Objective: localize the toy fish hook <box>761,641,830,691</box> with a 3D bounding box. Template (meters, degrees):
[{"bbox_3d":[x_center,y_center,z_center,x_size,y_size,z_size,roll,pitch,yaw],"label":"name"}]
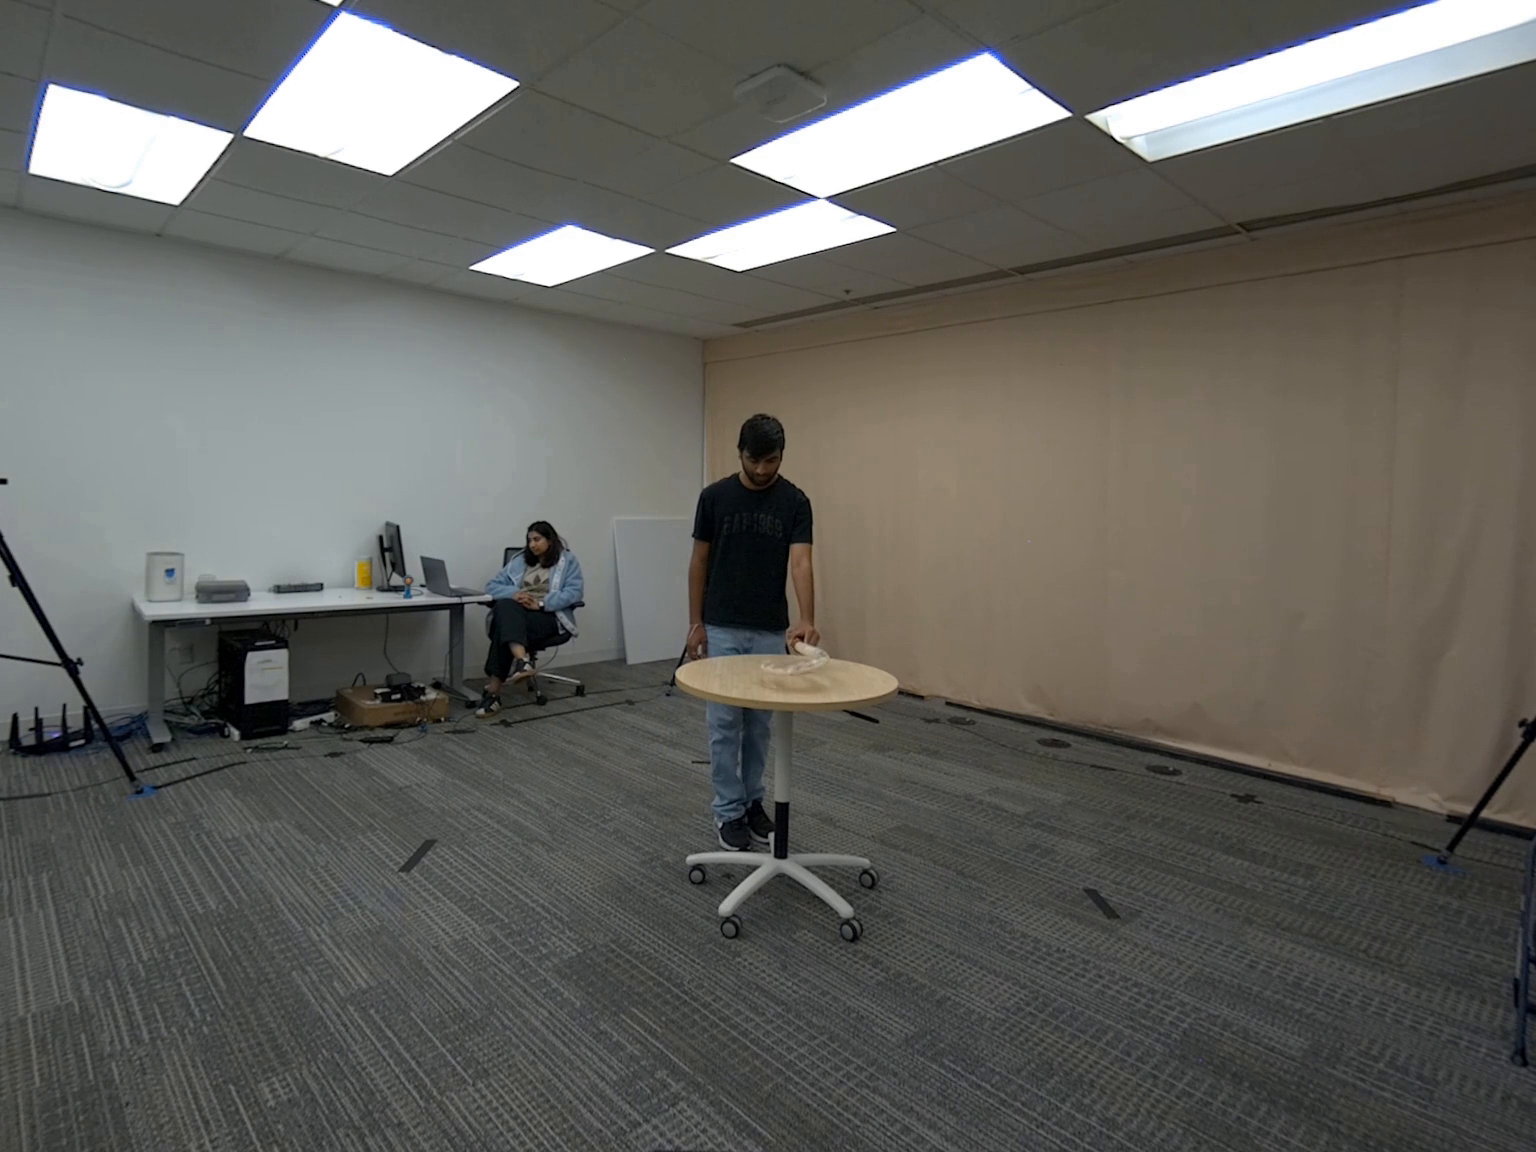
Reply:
[{"bbox_3d":[0.047,0.267,2.904,0.224,0.048,0.511,-7,8,-5],"label":"toy fish hook"}]
